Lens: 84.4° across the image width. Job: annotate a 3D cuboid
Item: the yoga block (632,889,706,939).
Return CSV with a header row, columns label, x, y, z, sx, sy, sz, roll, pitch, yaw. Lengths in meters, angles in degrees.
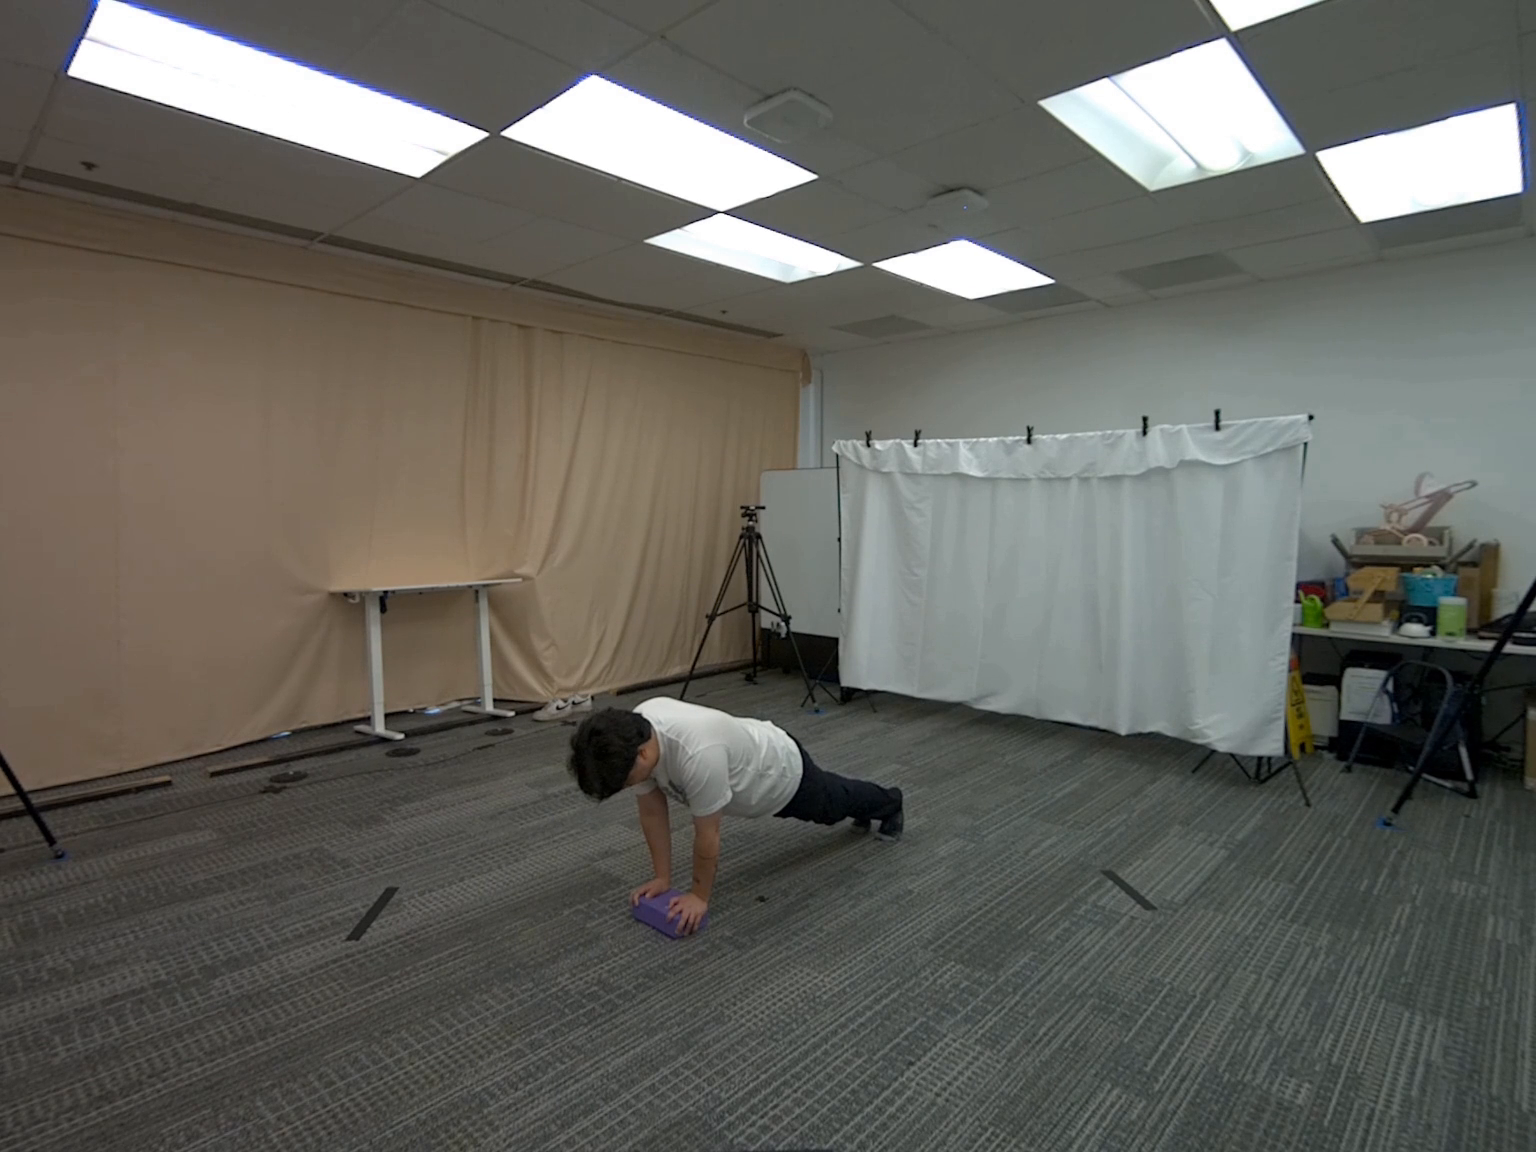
label,x,y,z,sx,sy,sz,roll,pitch,yaw
yoga block,-0.329,1.127,2.823,0.237,0.076,0.144,4,7,41
